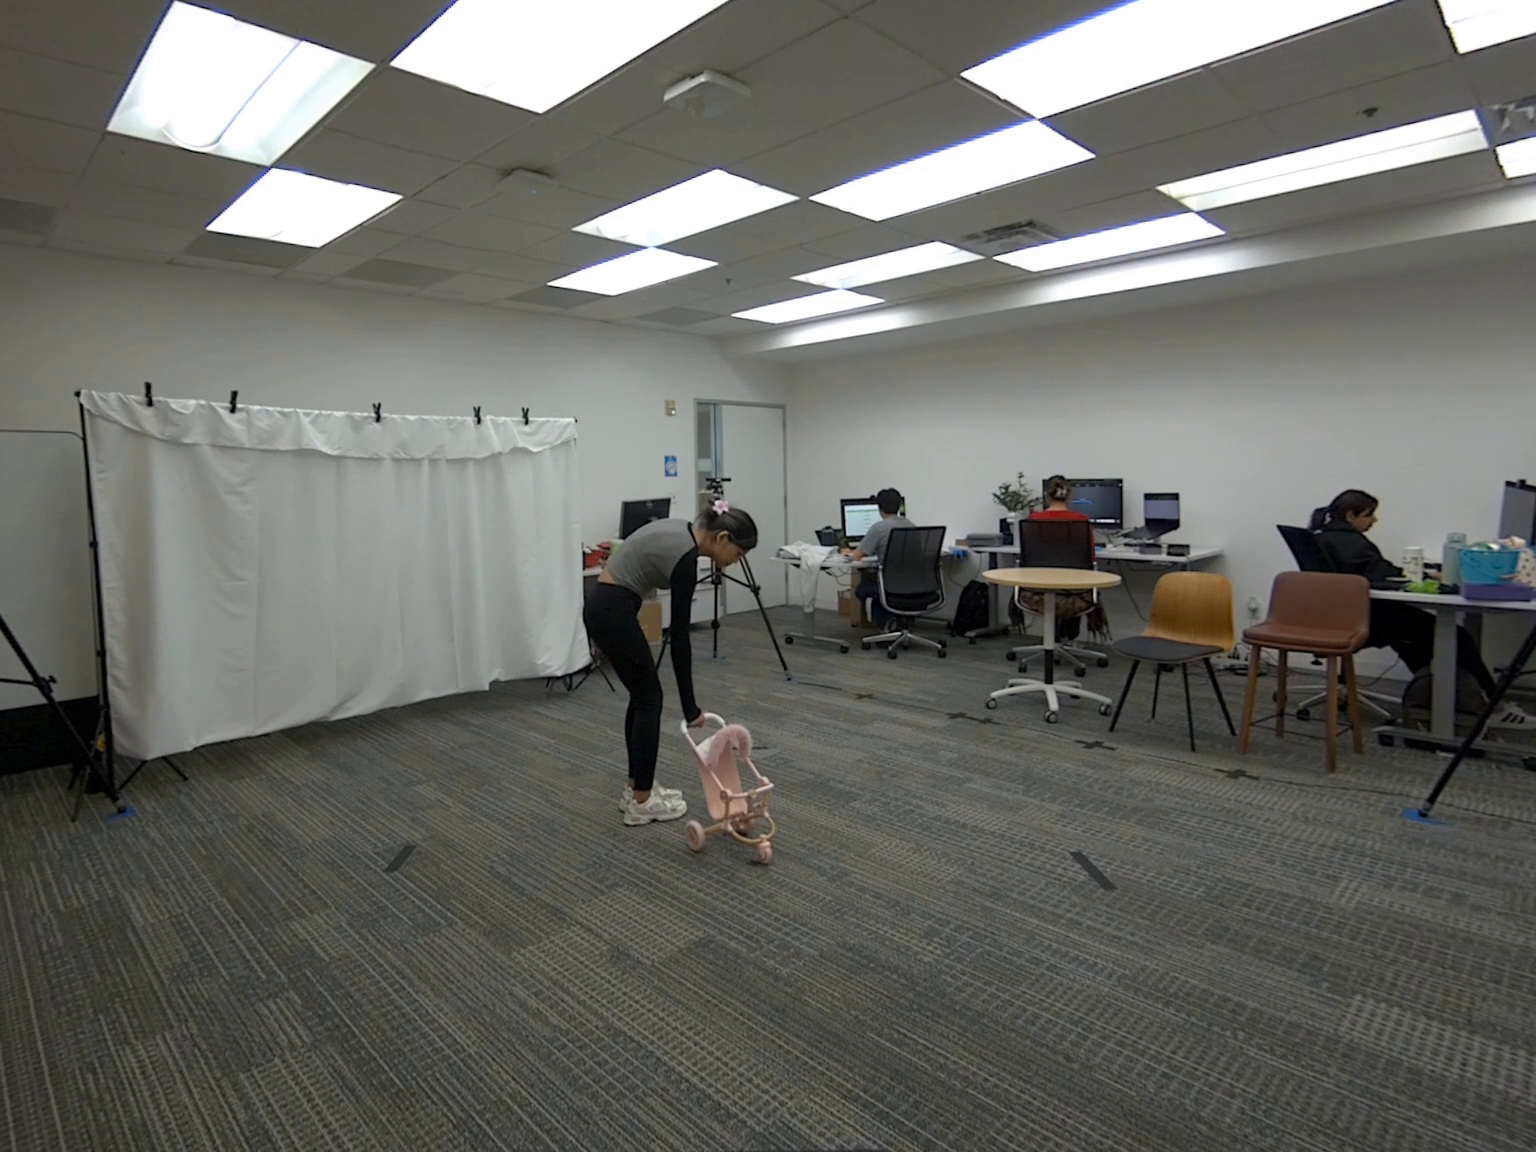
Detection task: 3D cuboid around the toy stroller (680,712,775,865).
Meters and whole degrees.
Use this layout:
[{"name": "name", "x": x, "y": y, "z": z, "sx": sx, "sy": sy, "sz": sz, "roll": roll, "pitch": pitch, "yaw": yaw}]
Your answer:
[{"name": "toy stroller", "x": -0.134, "y": 0.798, "z": 3.222, "sx": 0.274, "sy": 0.539, "sz": 0.348, "roll": -3, "pitch": -8, "yaw": -38}]
